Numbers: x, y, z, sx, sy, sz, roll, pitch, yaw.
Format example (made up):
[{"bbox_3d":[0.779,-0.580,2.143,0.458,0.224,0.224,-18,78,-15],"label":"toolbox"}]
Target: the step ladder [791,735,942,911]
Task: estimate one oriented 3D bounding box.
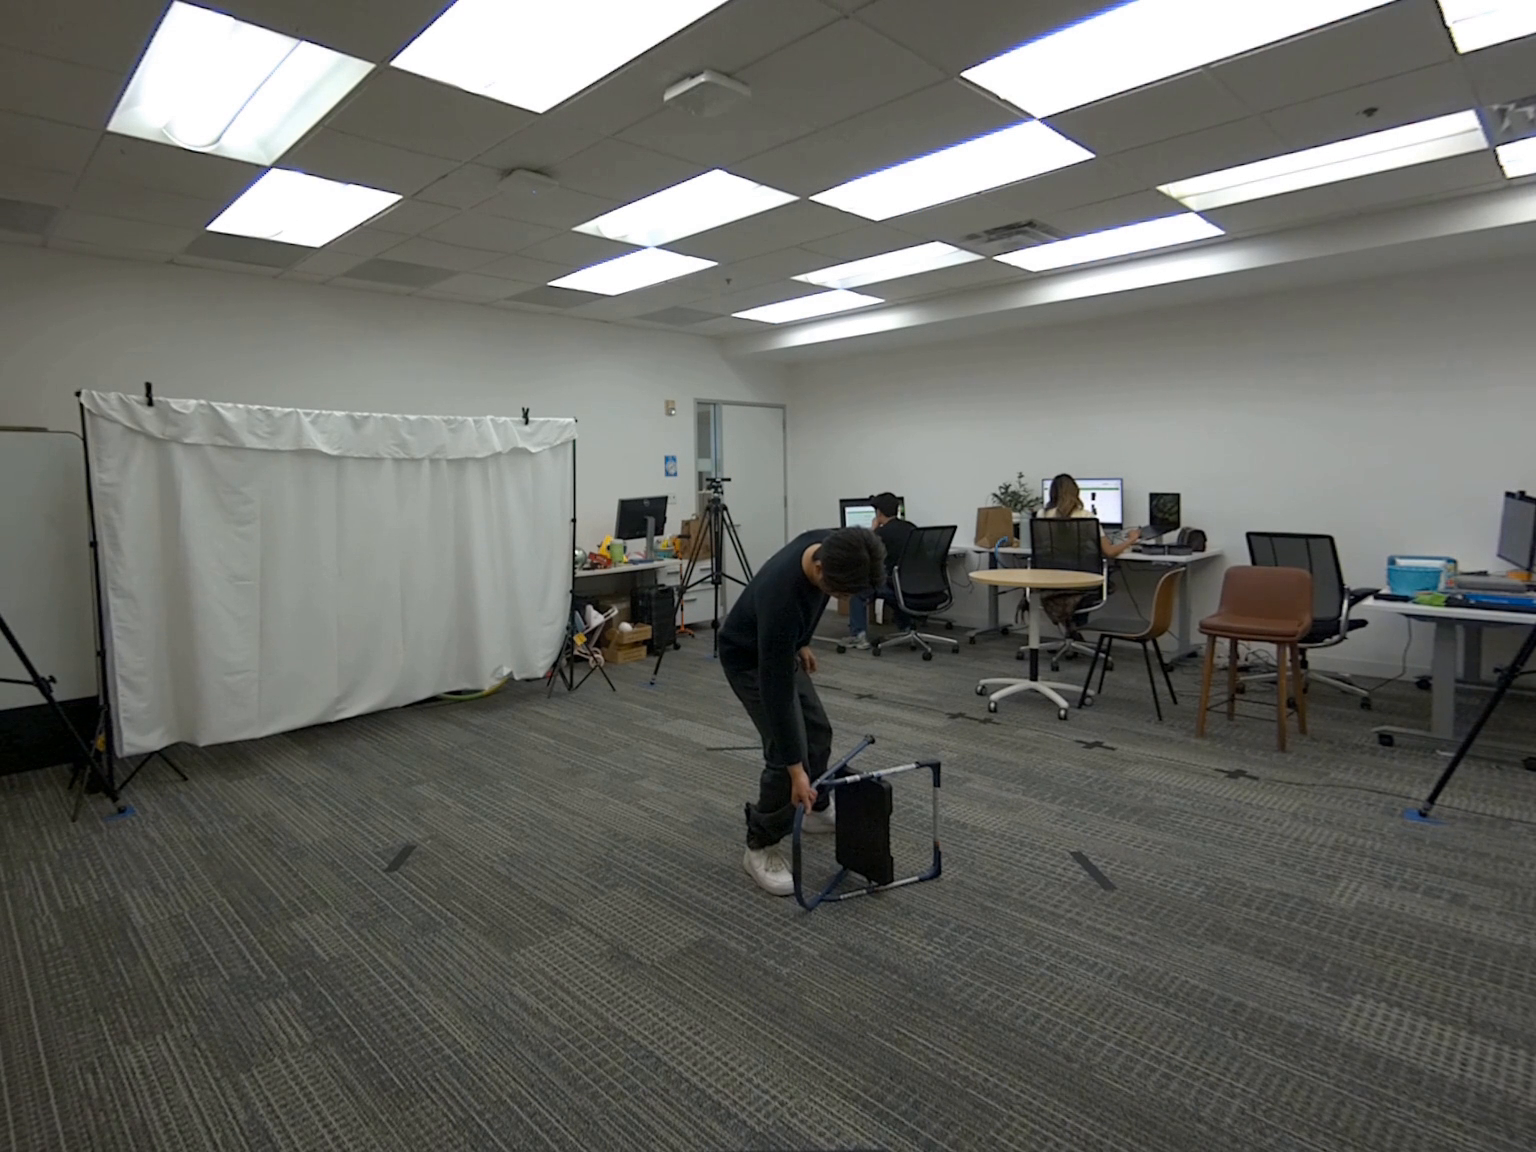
[{"bbox_3d":[0.268,0.851,2.903,0.591,0.428,0.360,-8,8,-39],"label":"step ladder"}]
